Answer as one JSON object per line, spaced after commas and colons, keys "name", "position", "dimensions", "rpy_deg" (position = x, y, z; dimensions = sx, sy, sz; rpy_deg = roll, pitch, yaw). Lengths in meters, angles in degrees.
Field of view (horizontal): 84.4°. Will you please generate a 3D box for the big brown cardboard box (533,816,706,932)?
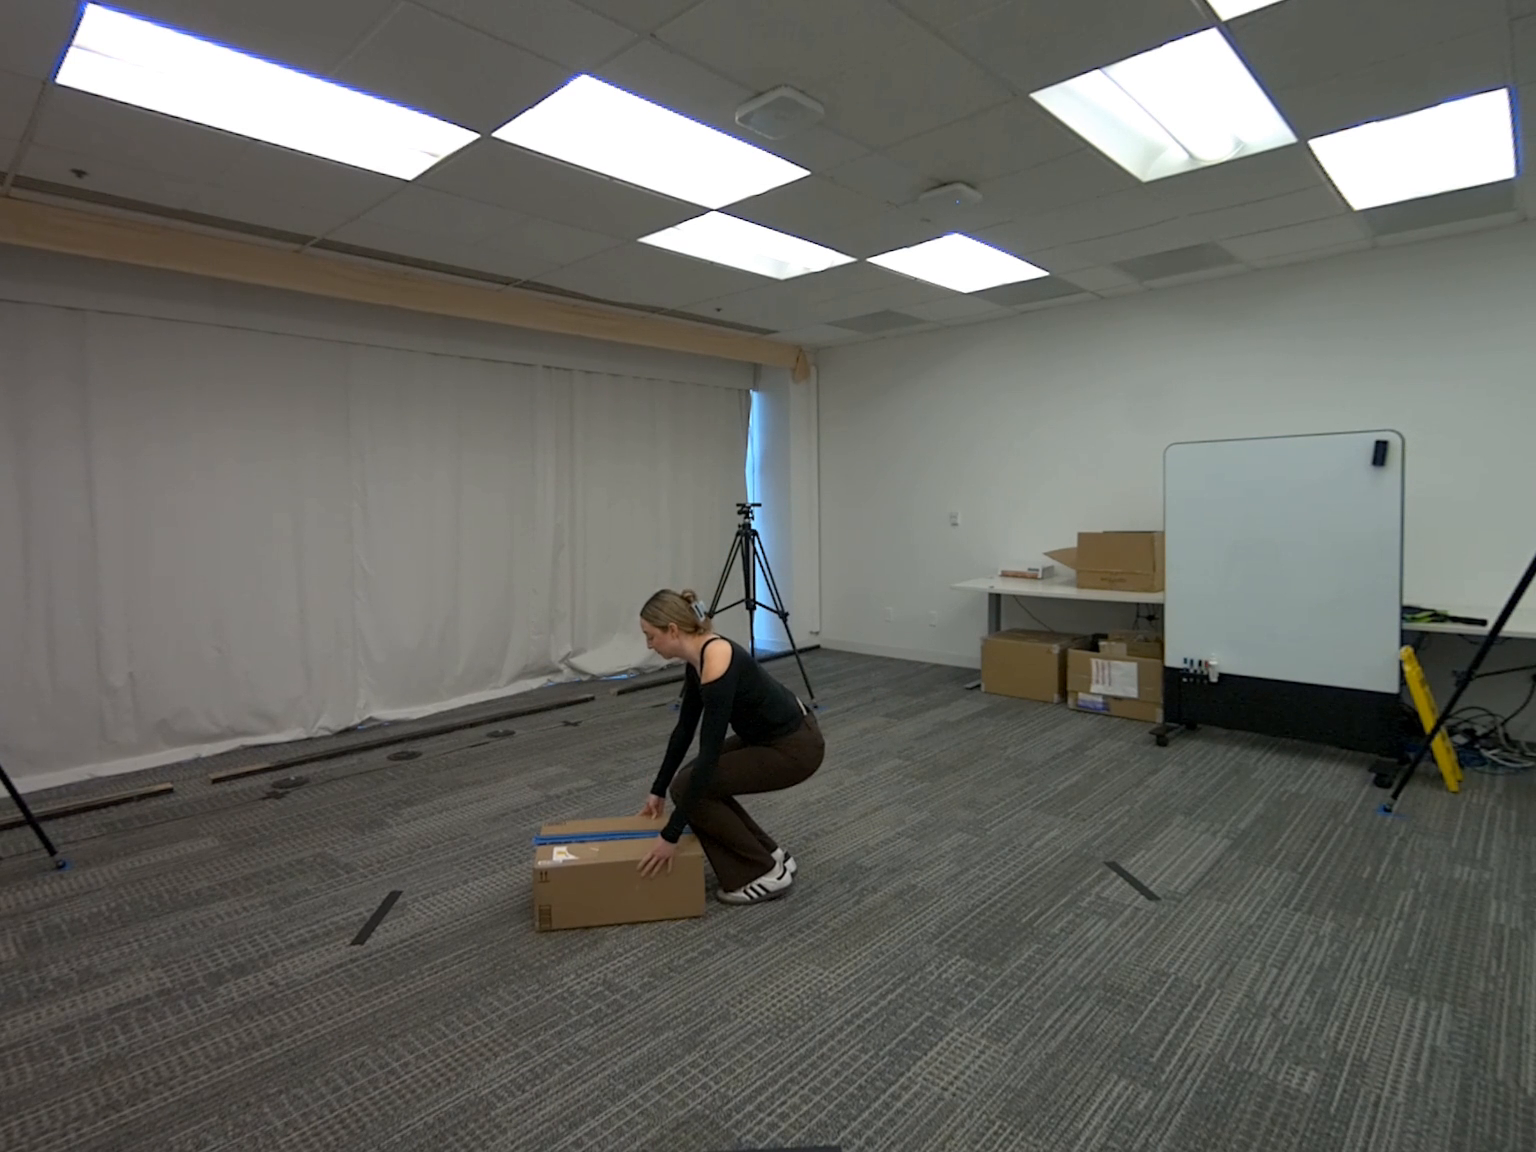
{"name": "big brown cardboard box", "position": [-0.541, 1.026, 3.001], "dimensions": [0.583, 0.233, 0.423], "rpy_deg": [-1, 4, -10]}
